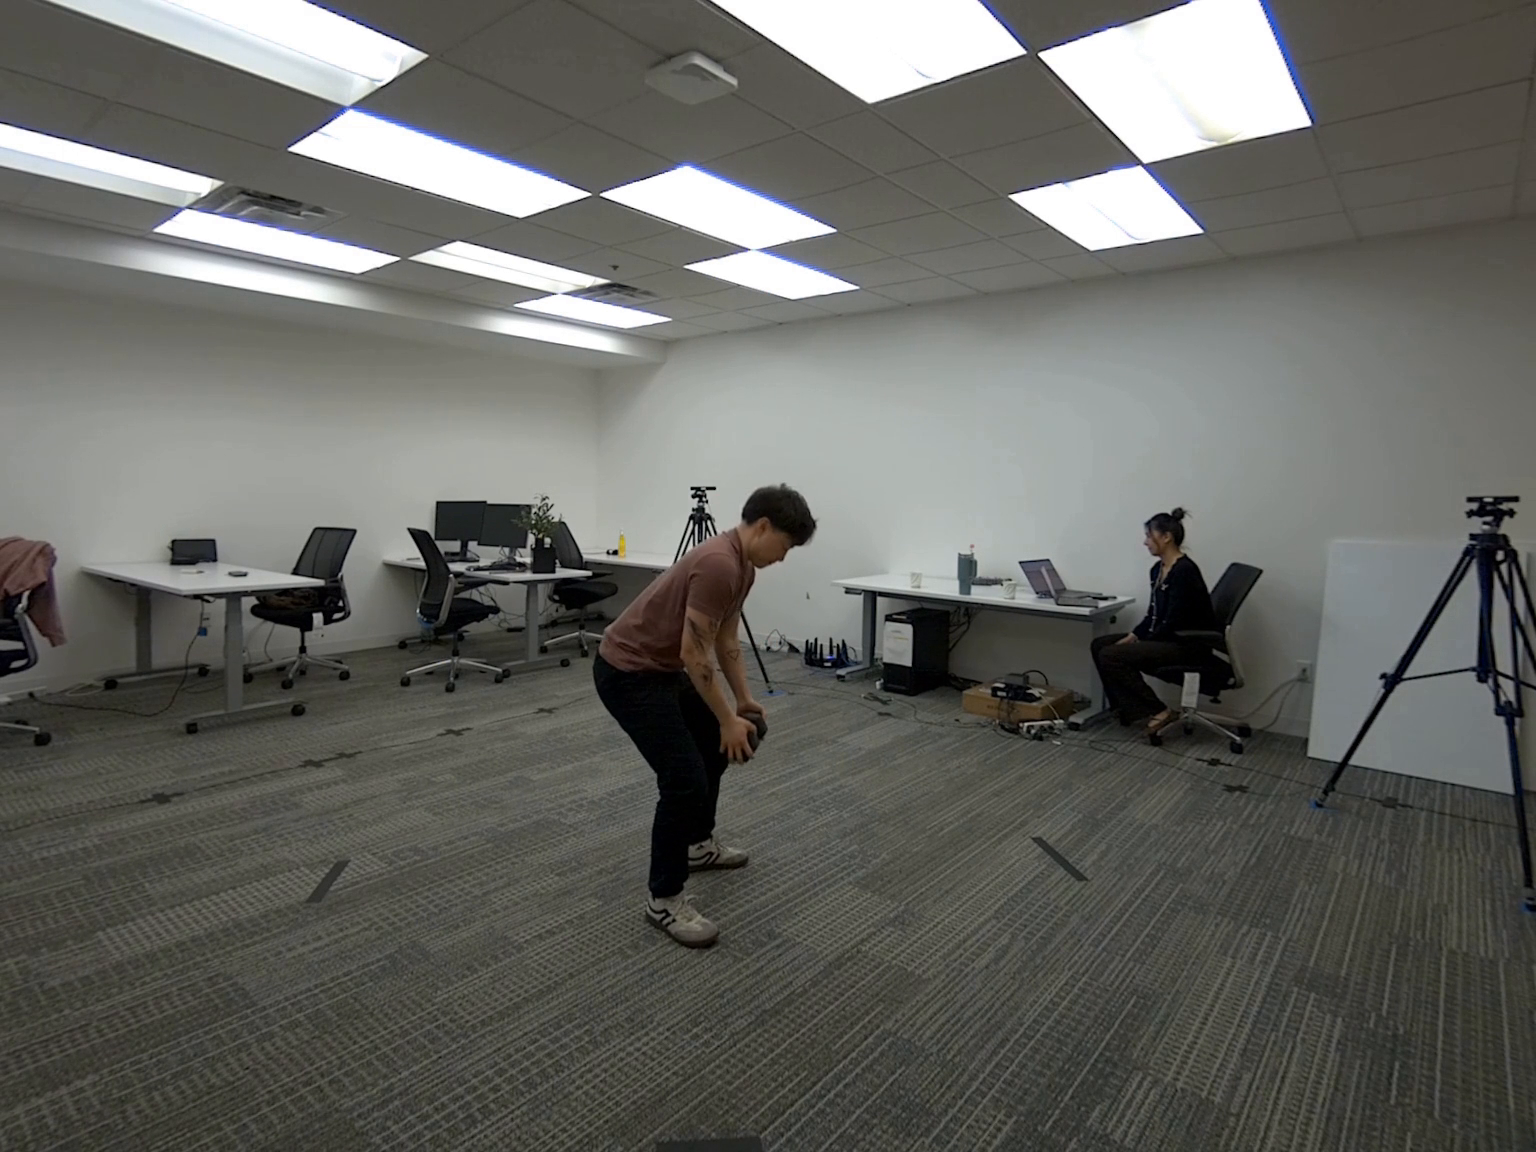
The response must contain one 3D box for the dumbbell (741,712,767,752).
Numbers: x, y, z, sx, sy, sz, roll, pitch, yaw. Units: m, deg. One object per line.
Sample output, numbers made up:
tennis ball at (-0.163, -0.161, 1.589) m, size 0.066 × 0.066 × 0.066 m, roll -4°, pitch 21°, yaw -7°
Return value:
dumbbell at (-0.090, 0.536, 2.854) m, size 0.124 × 0.108 × 0.291 m, roll 9°, pitch 4°, yaw 7°
